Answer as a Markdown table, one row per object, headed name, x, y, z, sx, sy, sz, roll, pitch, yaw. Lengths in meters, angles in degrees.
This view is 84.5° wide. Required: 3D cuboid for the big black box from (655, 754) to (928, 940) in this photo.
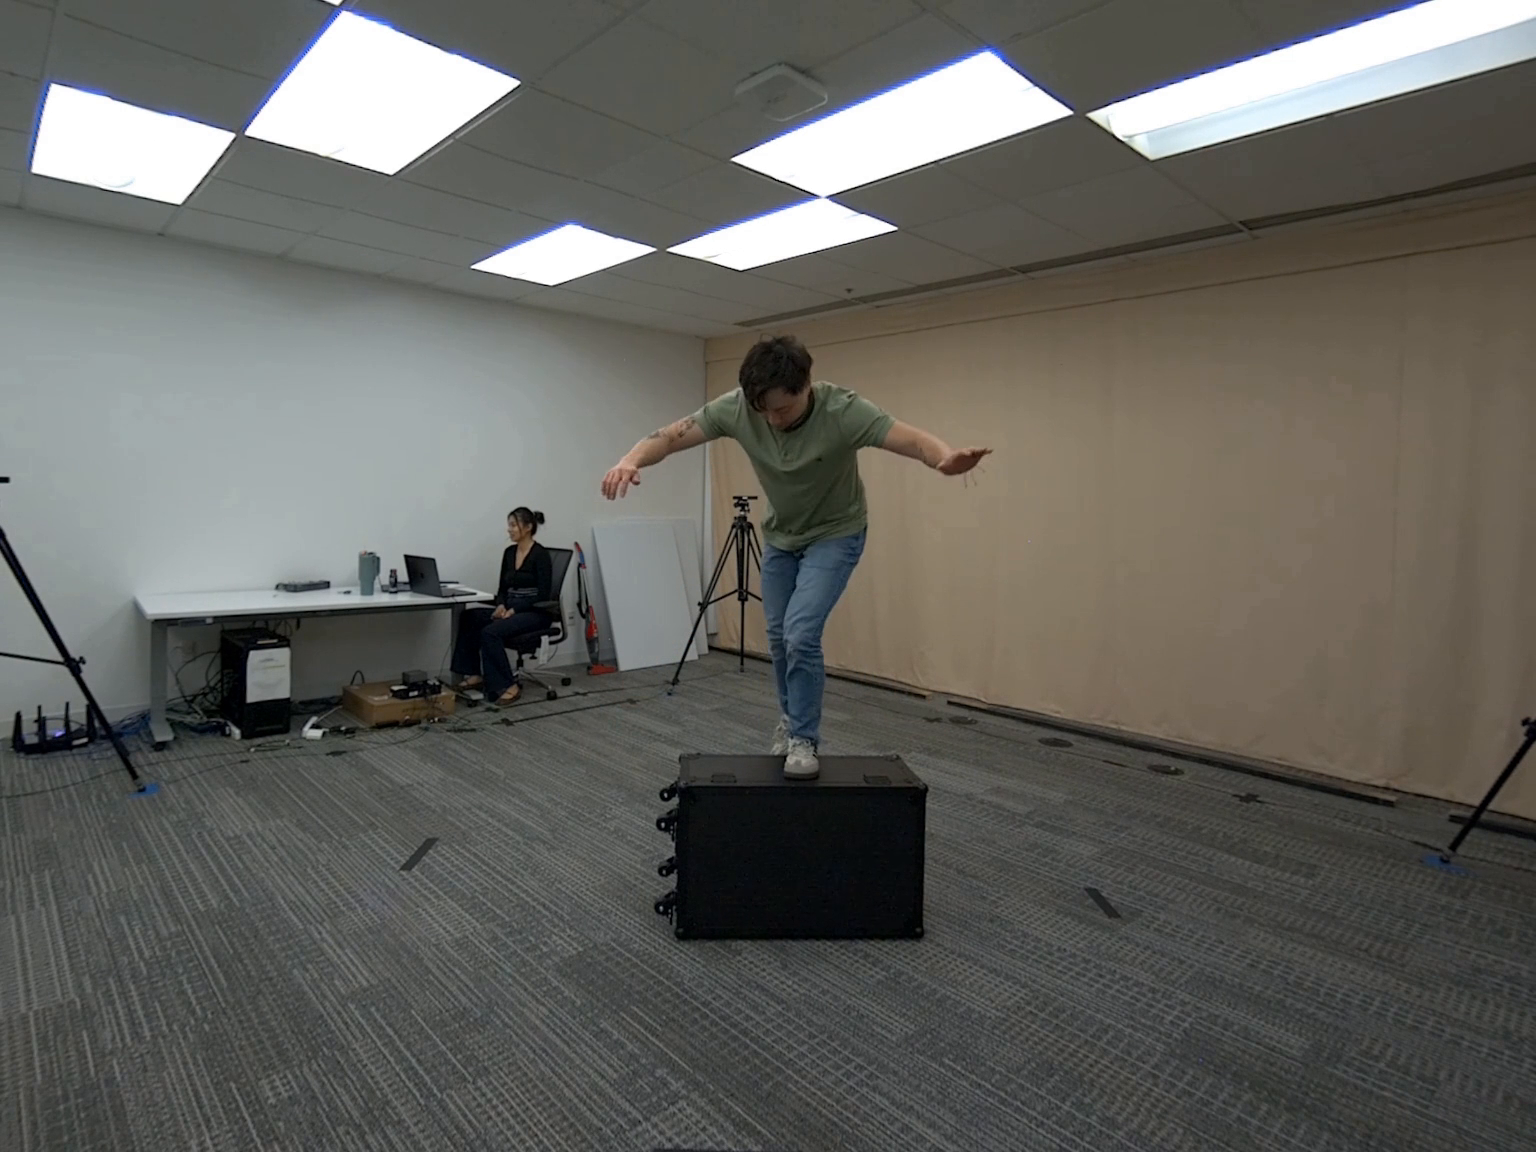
| name | x | y | z | sx | sy | sz | roll | pitch | yaw |
| --- | --- | --- | --- | --- | --- | --- | --- | --- | --- |
| big black box | 0.056 | 0.881 | 2.824 | 0.859 | 0.520 | 0.398 | 1 | 2 | -4 |
